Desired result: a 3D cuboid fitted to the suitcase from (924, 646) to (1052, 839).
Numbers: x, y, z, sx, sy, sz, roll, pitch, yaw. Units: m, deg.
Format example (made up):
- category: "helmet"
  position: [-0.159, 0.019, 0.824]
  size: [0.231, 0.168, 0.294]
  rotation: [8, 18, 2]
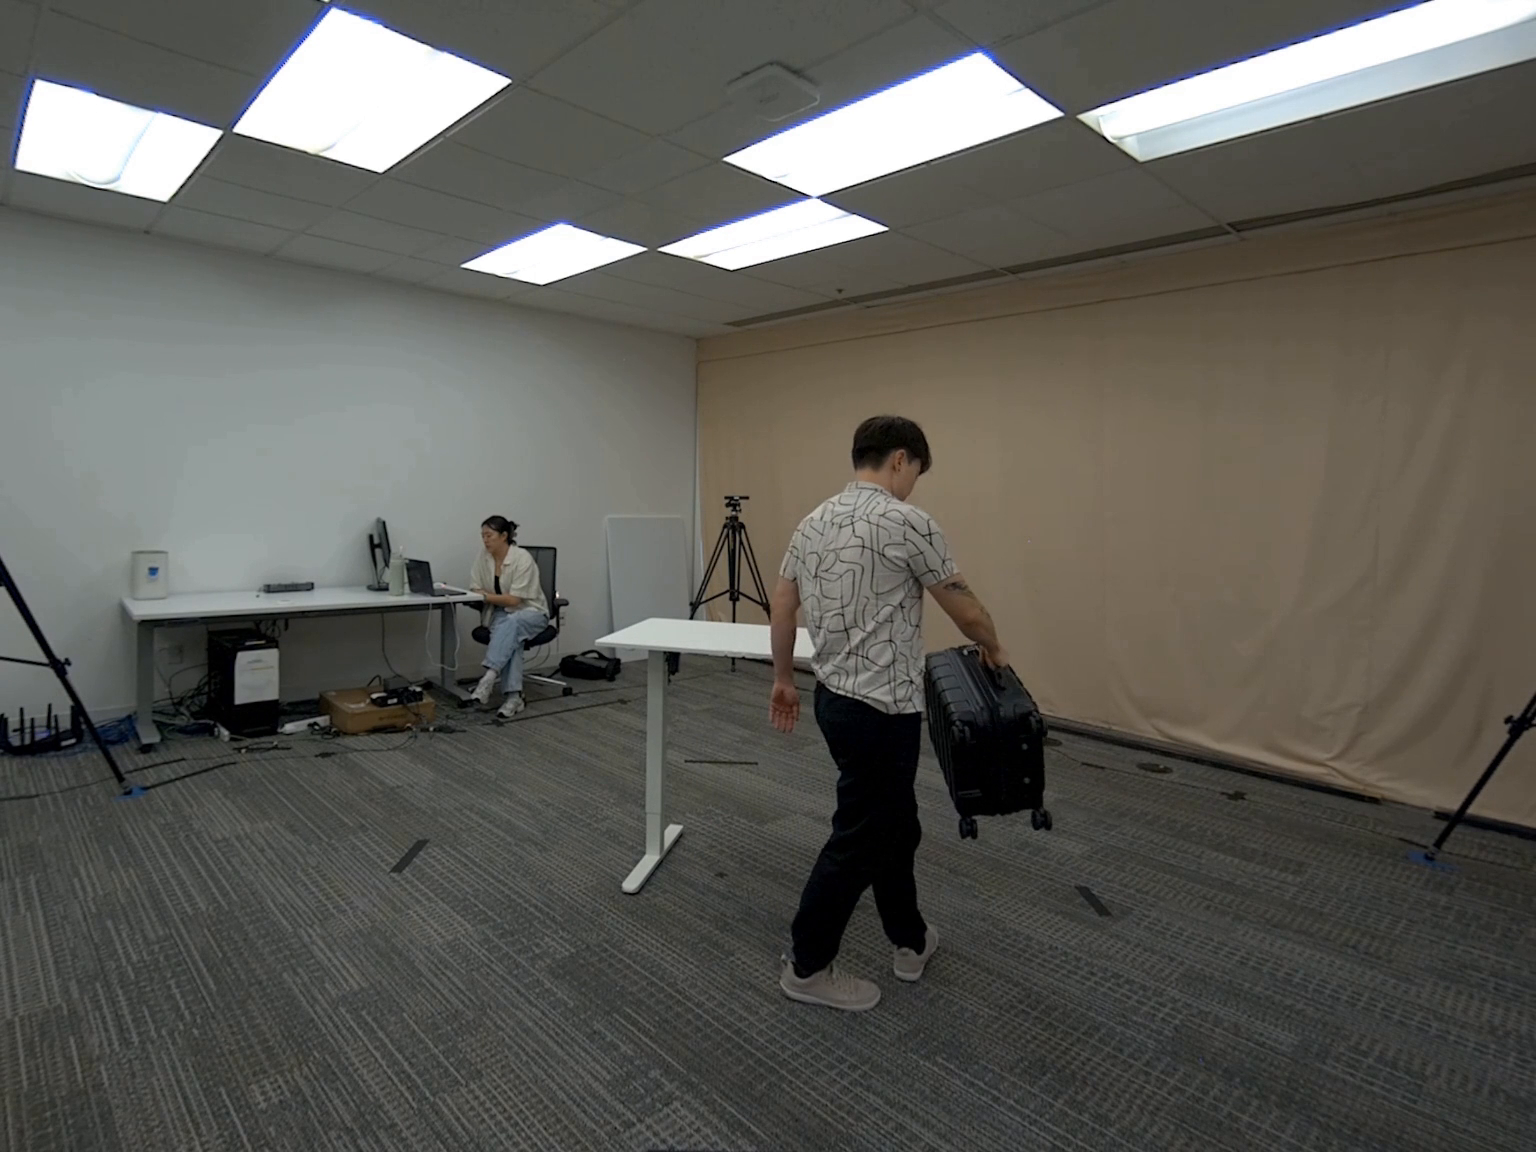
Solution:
- category: "suitcase"
  position: [0.636, 0.455, 2.543]
  size: [0.249, 0.370, 0.556]
  rotation: [-9, 18, 3]
